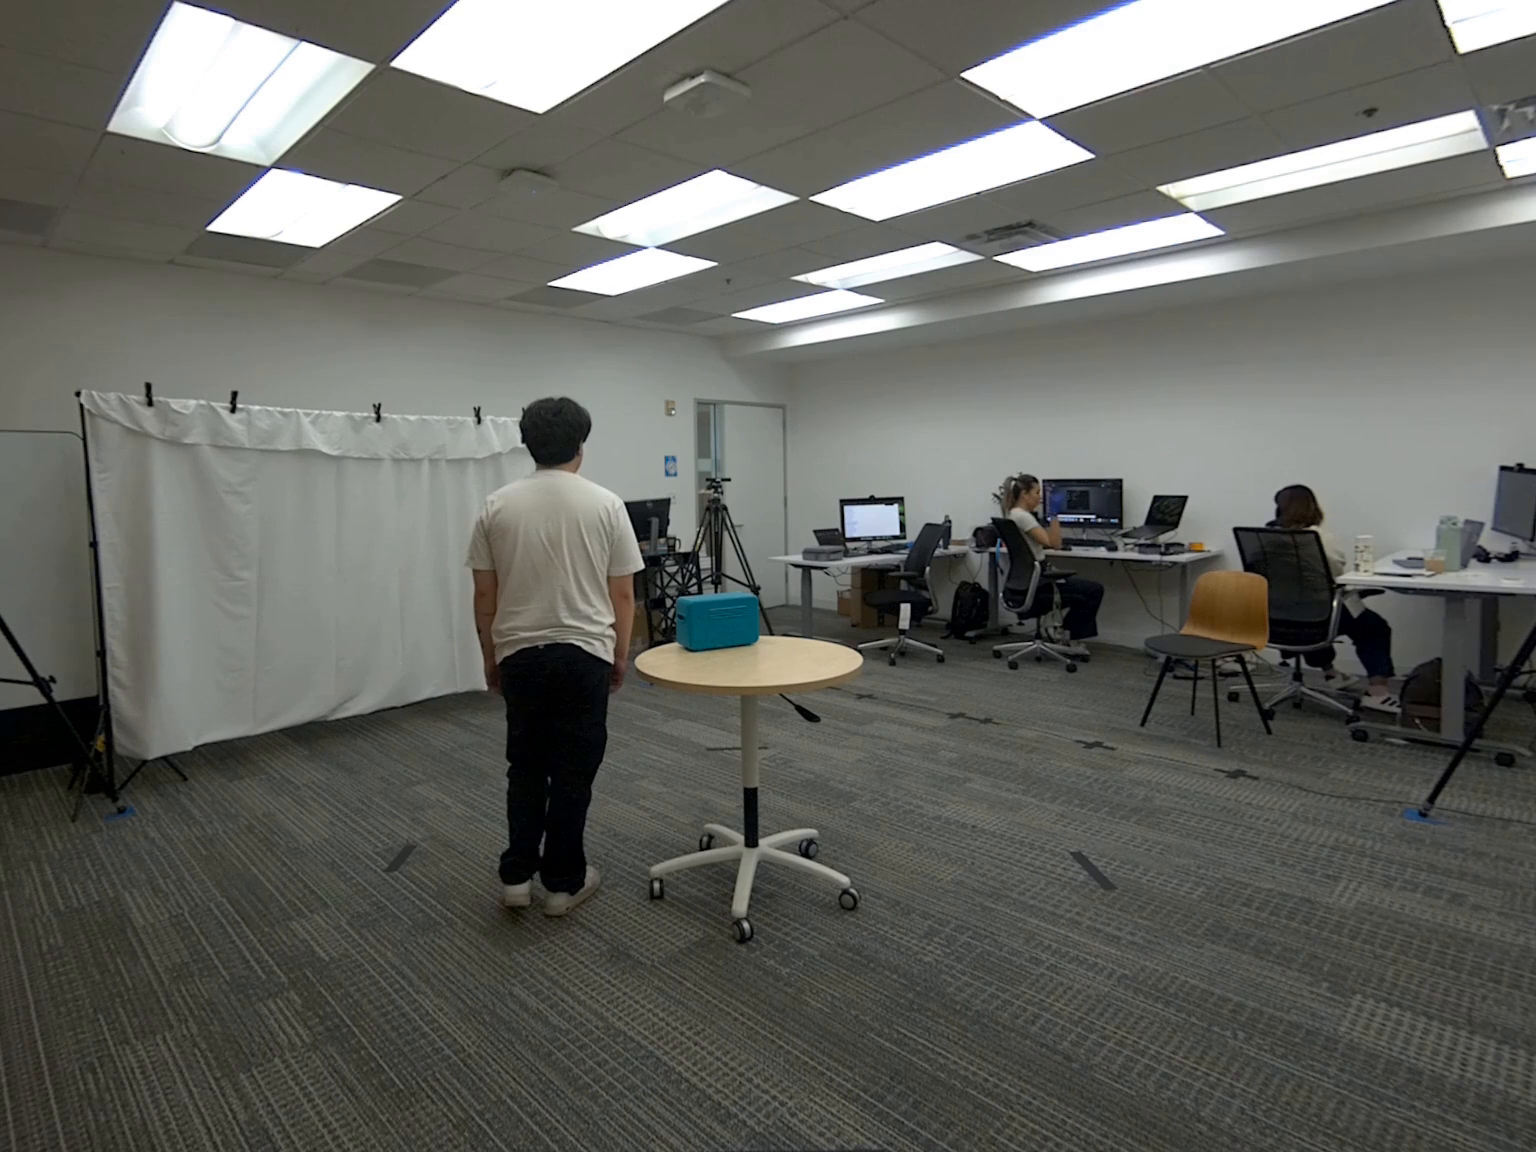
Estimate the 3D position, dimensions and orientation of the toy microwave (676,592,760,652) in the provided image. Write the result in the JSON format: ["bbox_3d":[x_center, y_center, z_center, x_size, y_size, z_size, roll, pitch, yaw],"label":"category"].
[{"bbox_3d":[-0.188,0.160,3.096,0.280,0.183,0.156,-4,6,-28],"label":"toy microwave"}]
